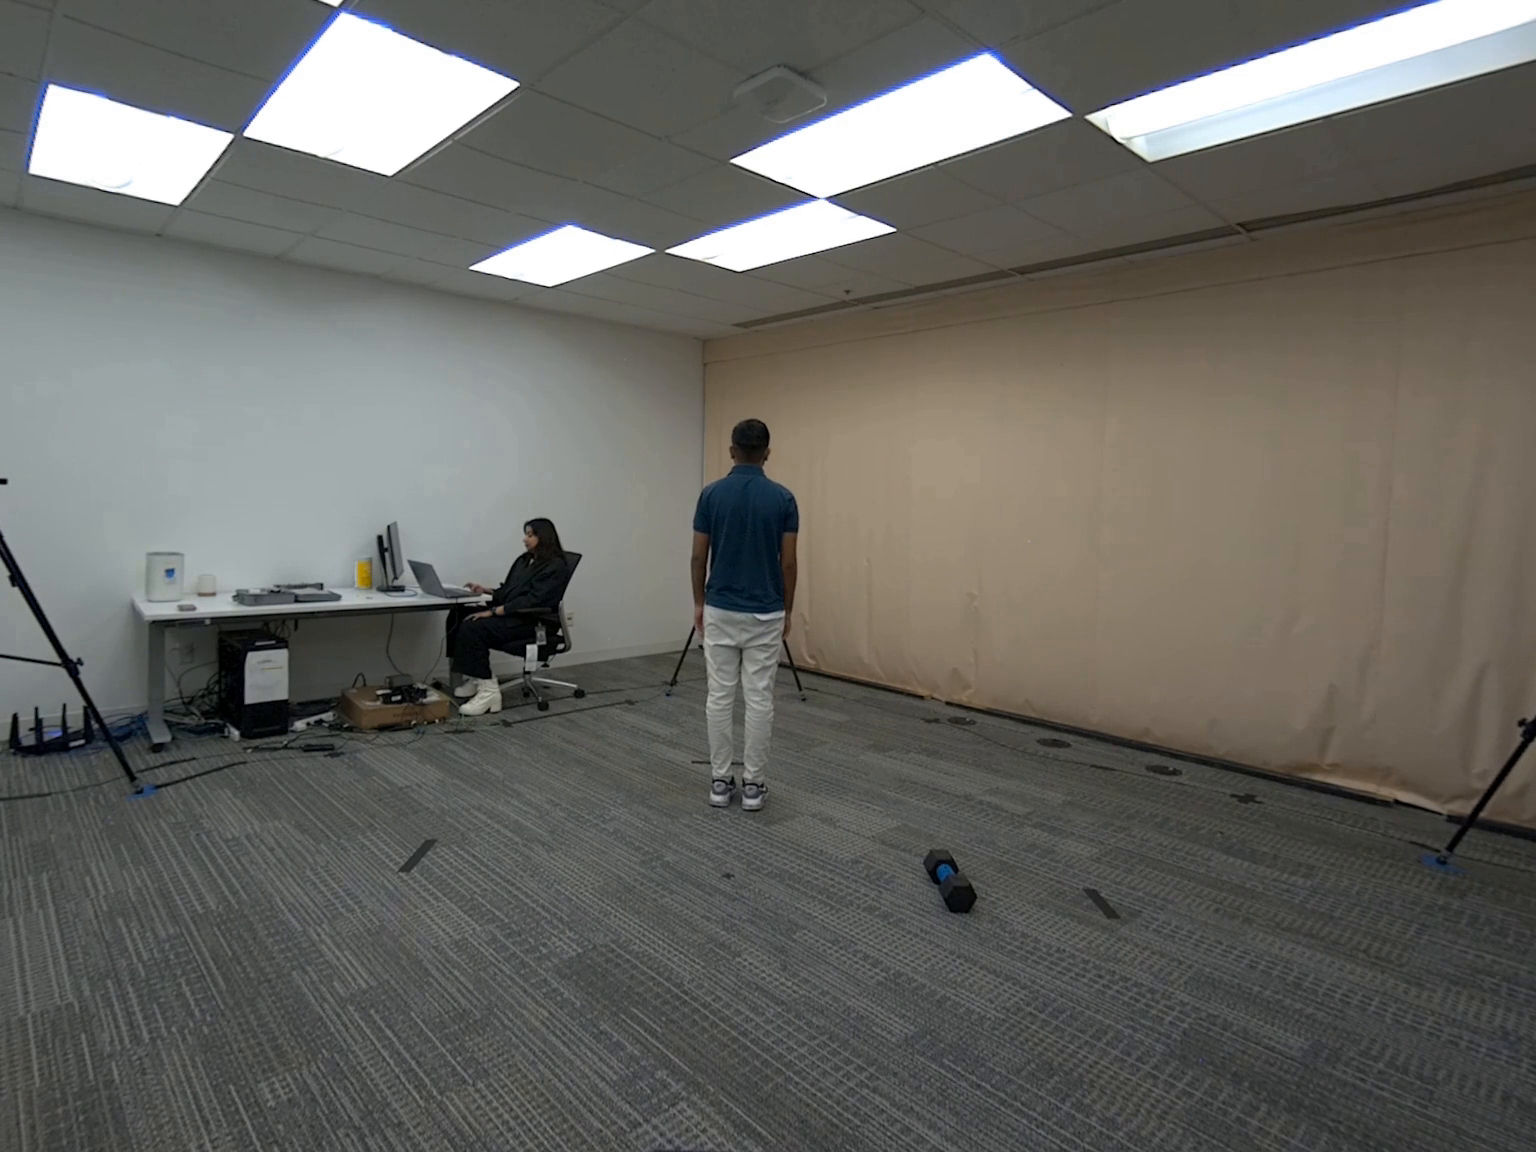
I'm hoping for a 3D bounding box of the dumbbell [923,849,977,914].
[{"bbox_3d":[0.637,1.083,3.003,0.109,0.122,0.295,-29,6,-1],"label":"dumbbell"}]
